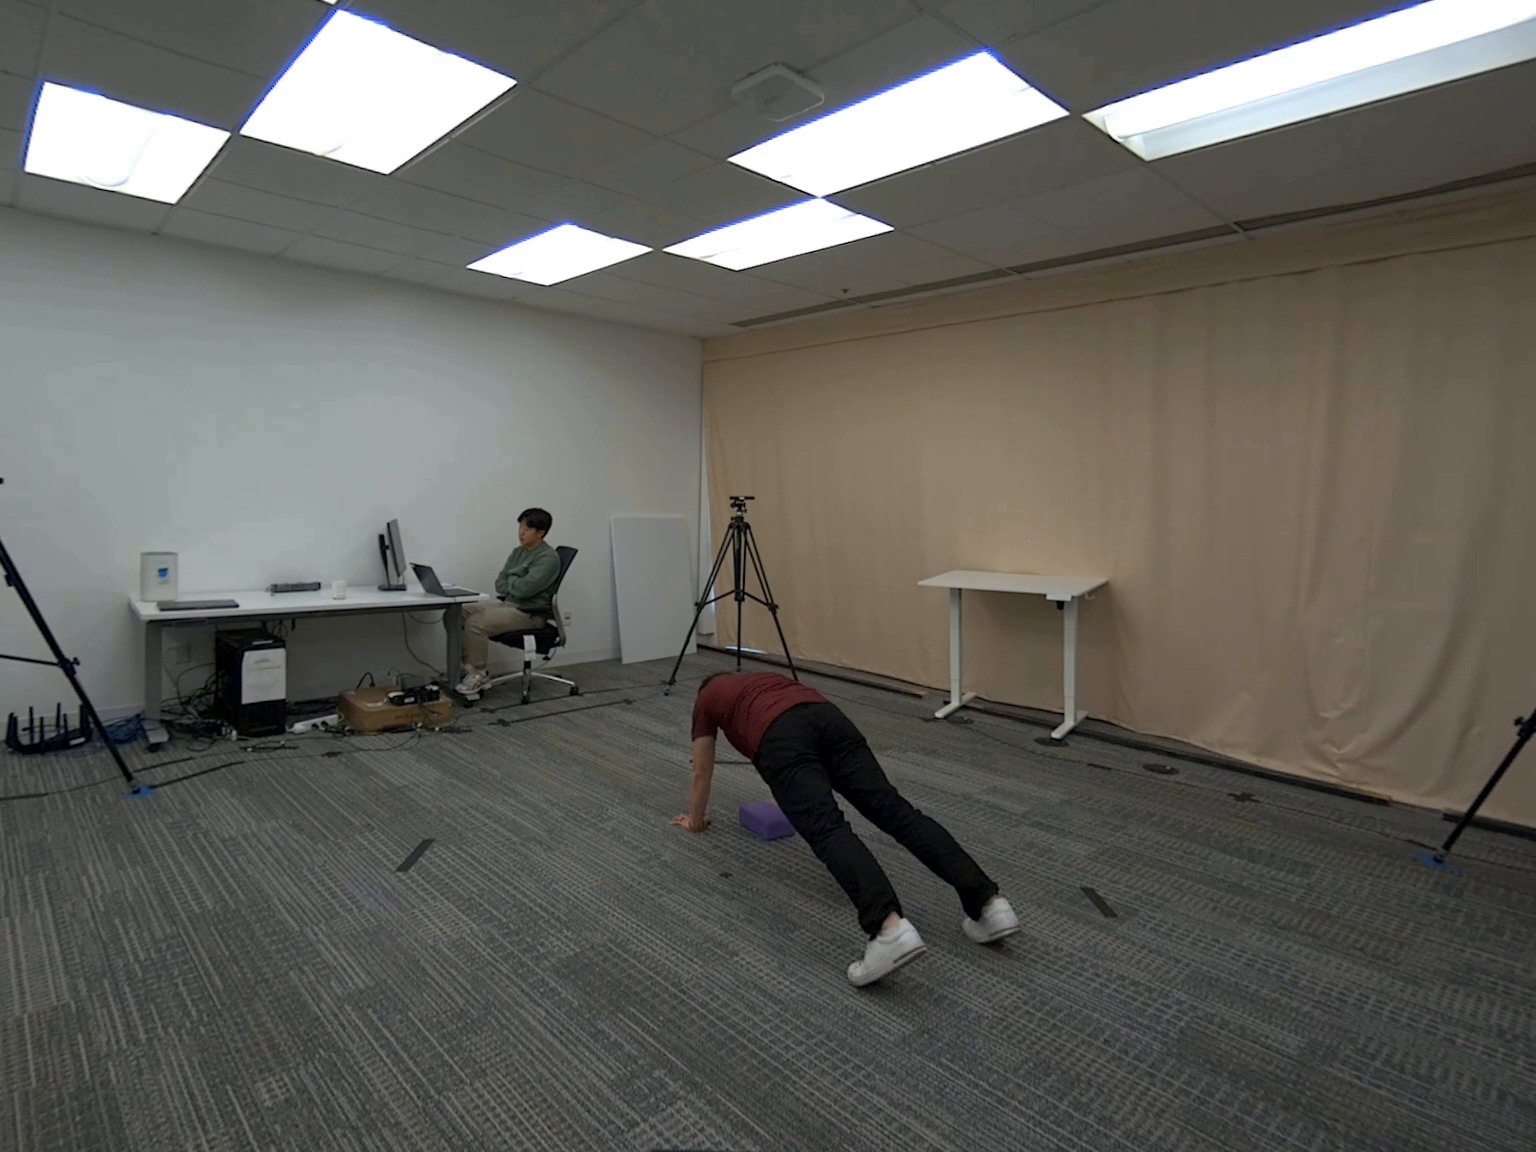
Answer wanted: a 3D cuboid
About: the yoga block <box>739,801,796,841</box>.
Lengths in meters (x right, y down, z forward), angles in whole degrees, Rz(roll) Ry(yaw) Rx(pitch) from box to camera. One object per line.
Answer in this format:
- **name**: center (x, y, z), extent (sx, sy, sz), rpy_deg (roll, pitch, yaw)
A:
- **yoga block**: center (-0.010, 1.026, 3.548), extent (0.146, 0.076, 0.235), rpy_deg (-1, 4, -33)
